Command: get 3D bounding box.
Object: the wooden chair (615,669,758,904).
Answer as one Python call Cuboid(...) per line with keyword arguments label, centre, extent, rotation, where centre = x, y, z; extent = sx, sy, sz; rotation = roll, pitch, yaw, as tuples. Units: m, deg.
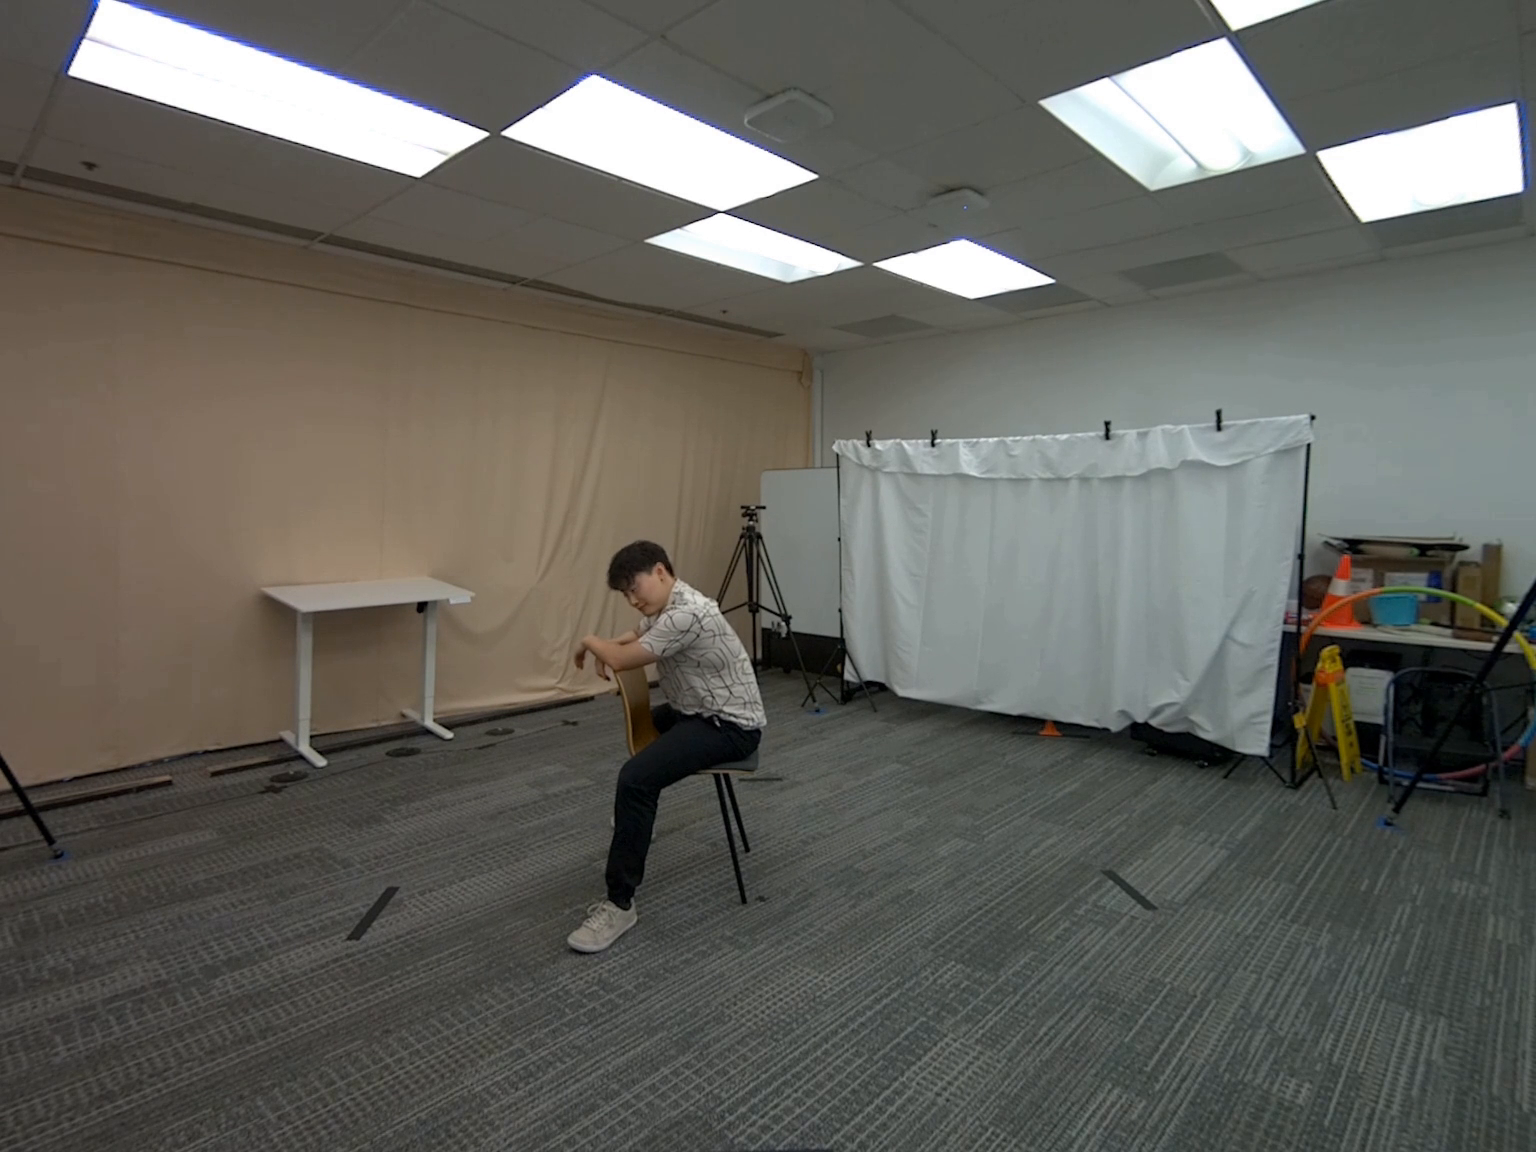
Cuboid(label="wooden chair", centre=(-0.291, 0.715, 3.150), extent=(0.525, 0.875, 0.478), rotation=(-5, 3, 2))
